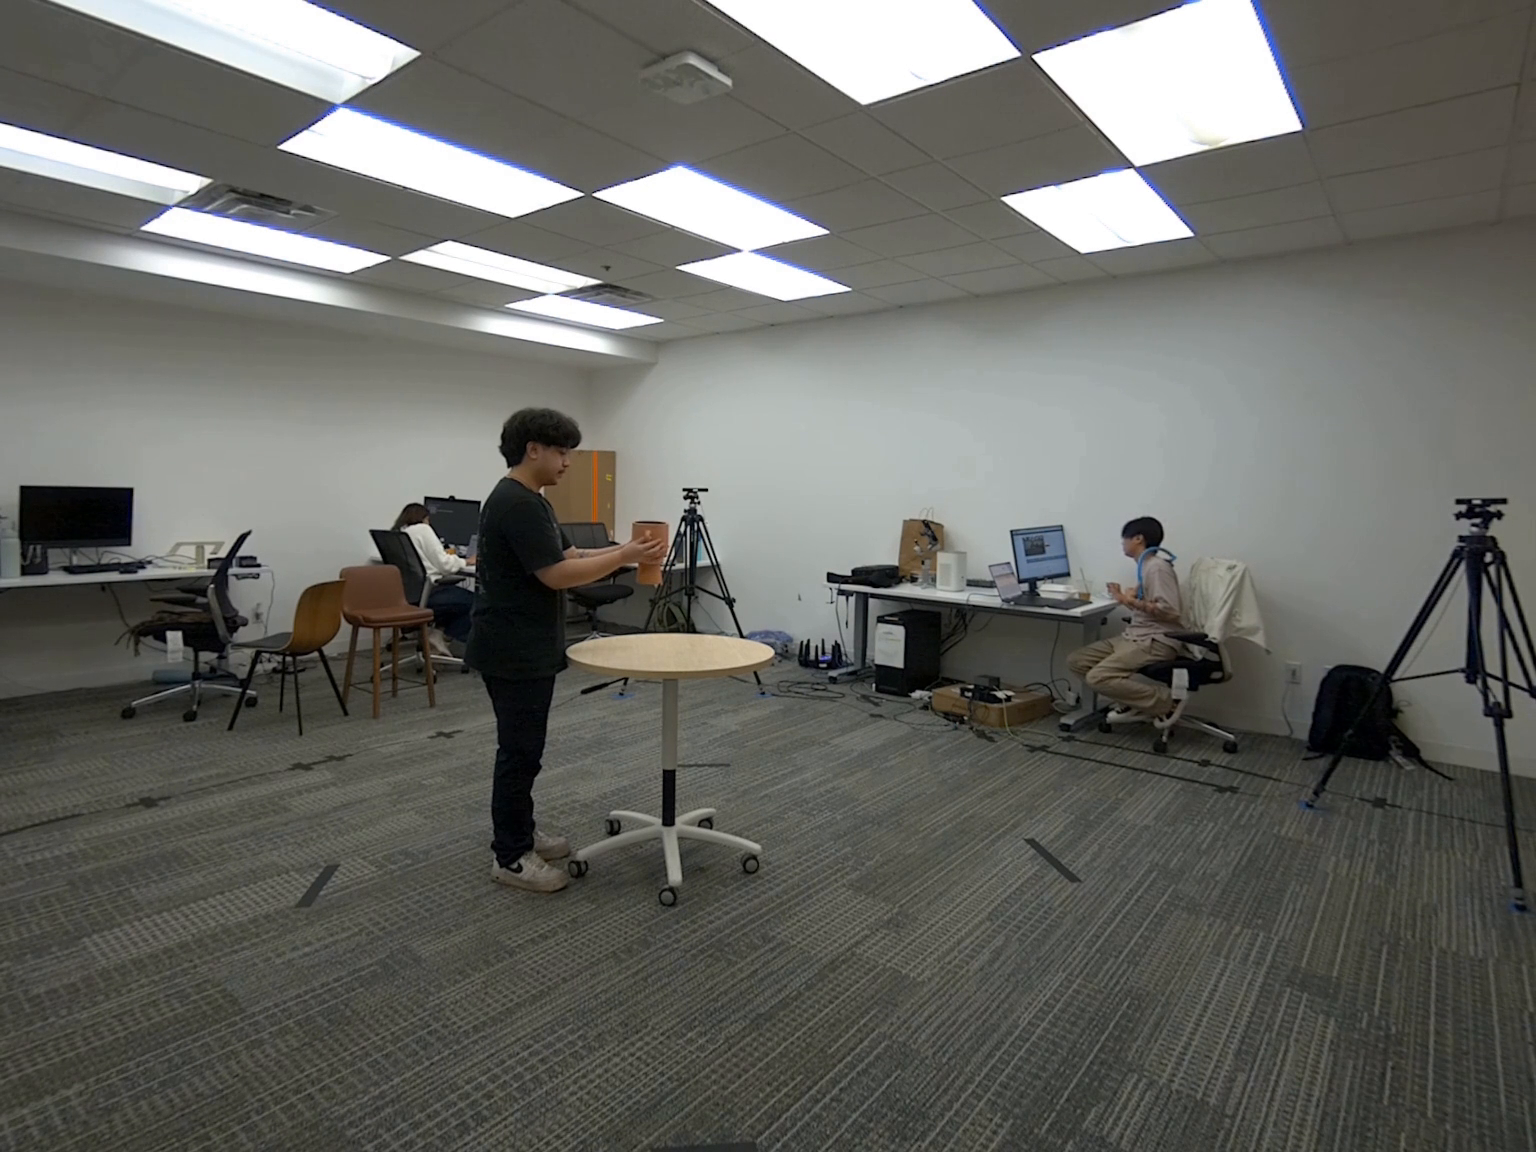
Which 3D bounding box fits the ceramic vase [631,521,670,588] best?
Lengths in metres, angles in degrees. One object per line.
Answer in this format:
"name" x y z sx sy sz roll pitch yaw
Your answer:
"ceramic vase" -0.451 -0.086 3.092 0.139 0.219 0.154 8 6 36
